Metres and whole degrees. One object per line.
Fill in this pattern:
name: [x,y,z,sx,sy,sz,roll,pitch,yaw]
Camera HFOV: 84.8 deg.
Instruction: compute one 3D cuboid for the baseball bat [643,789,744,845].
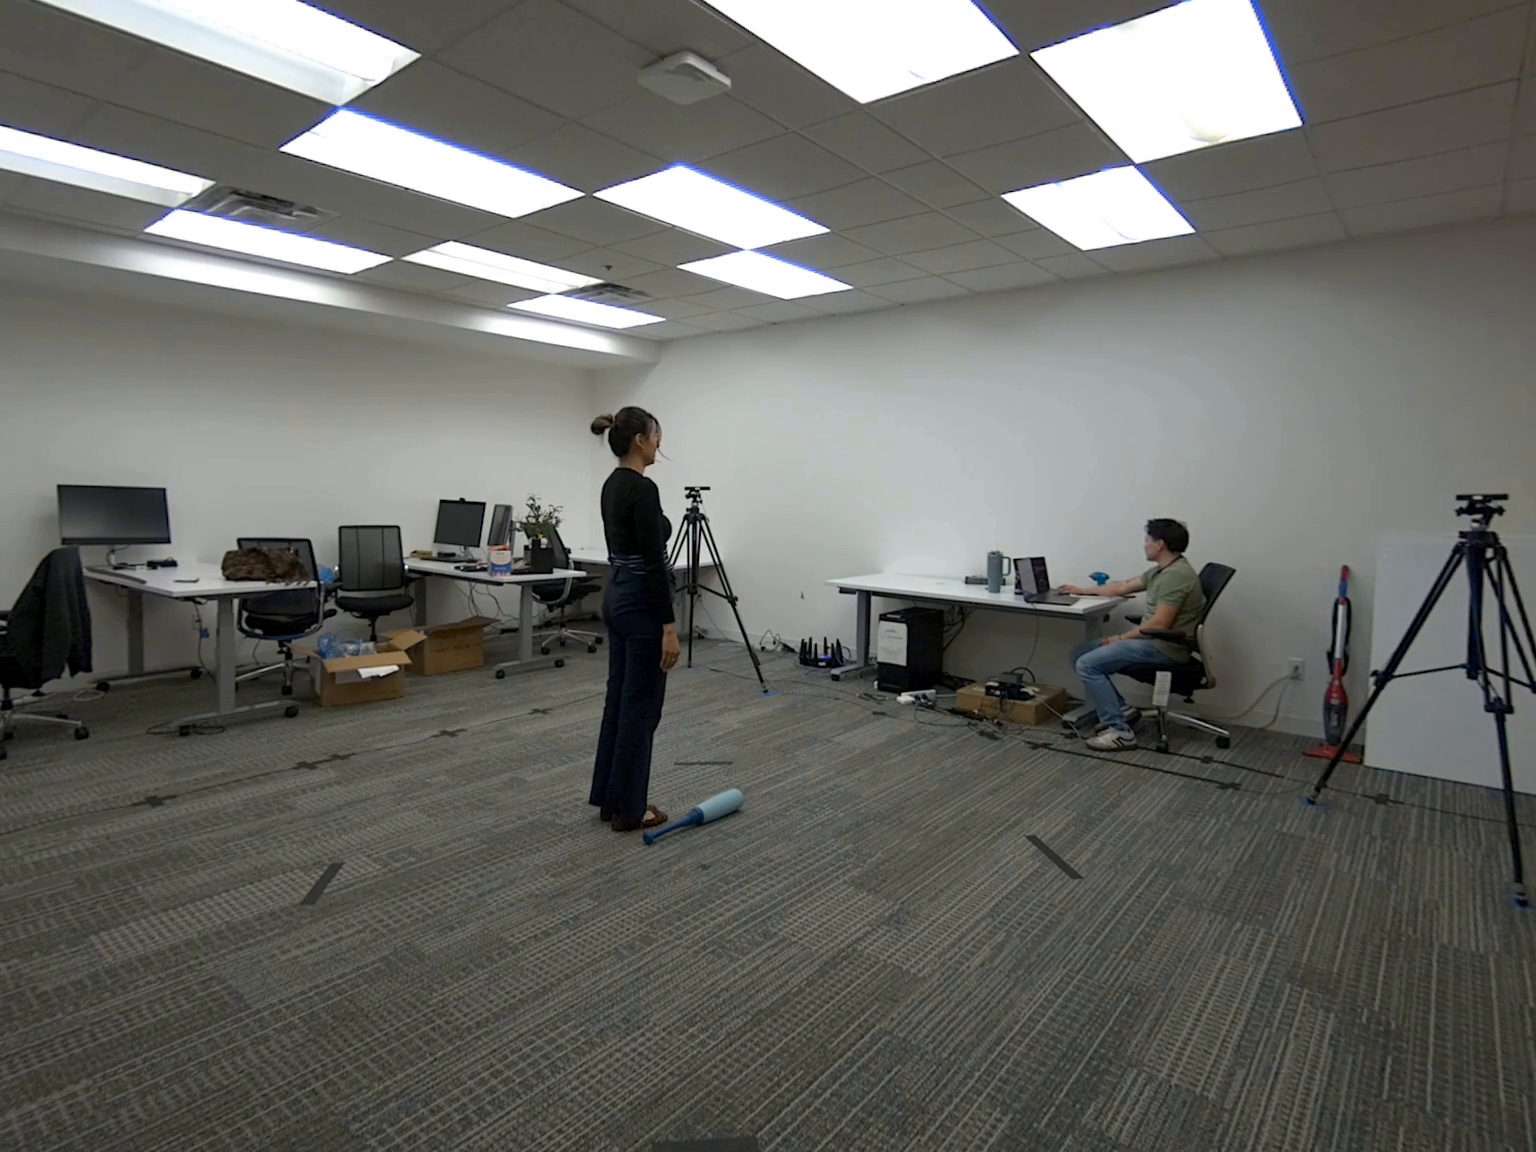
baseball bat: [-0.313,0.994,3.495,0.092,0.088,0.528,4,10,41]
